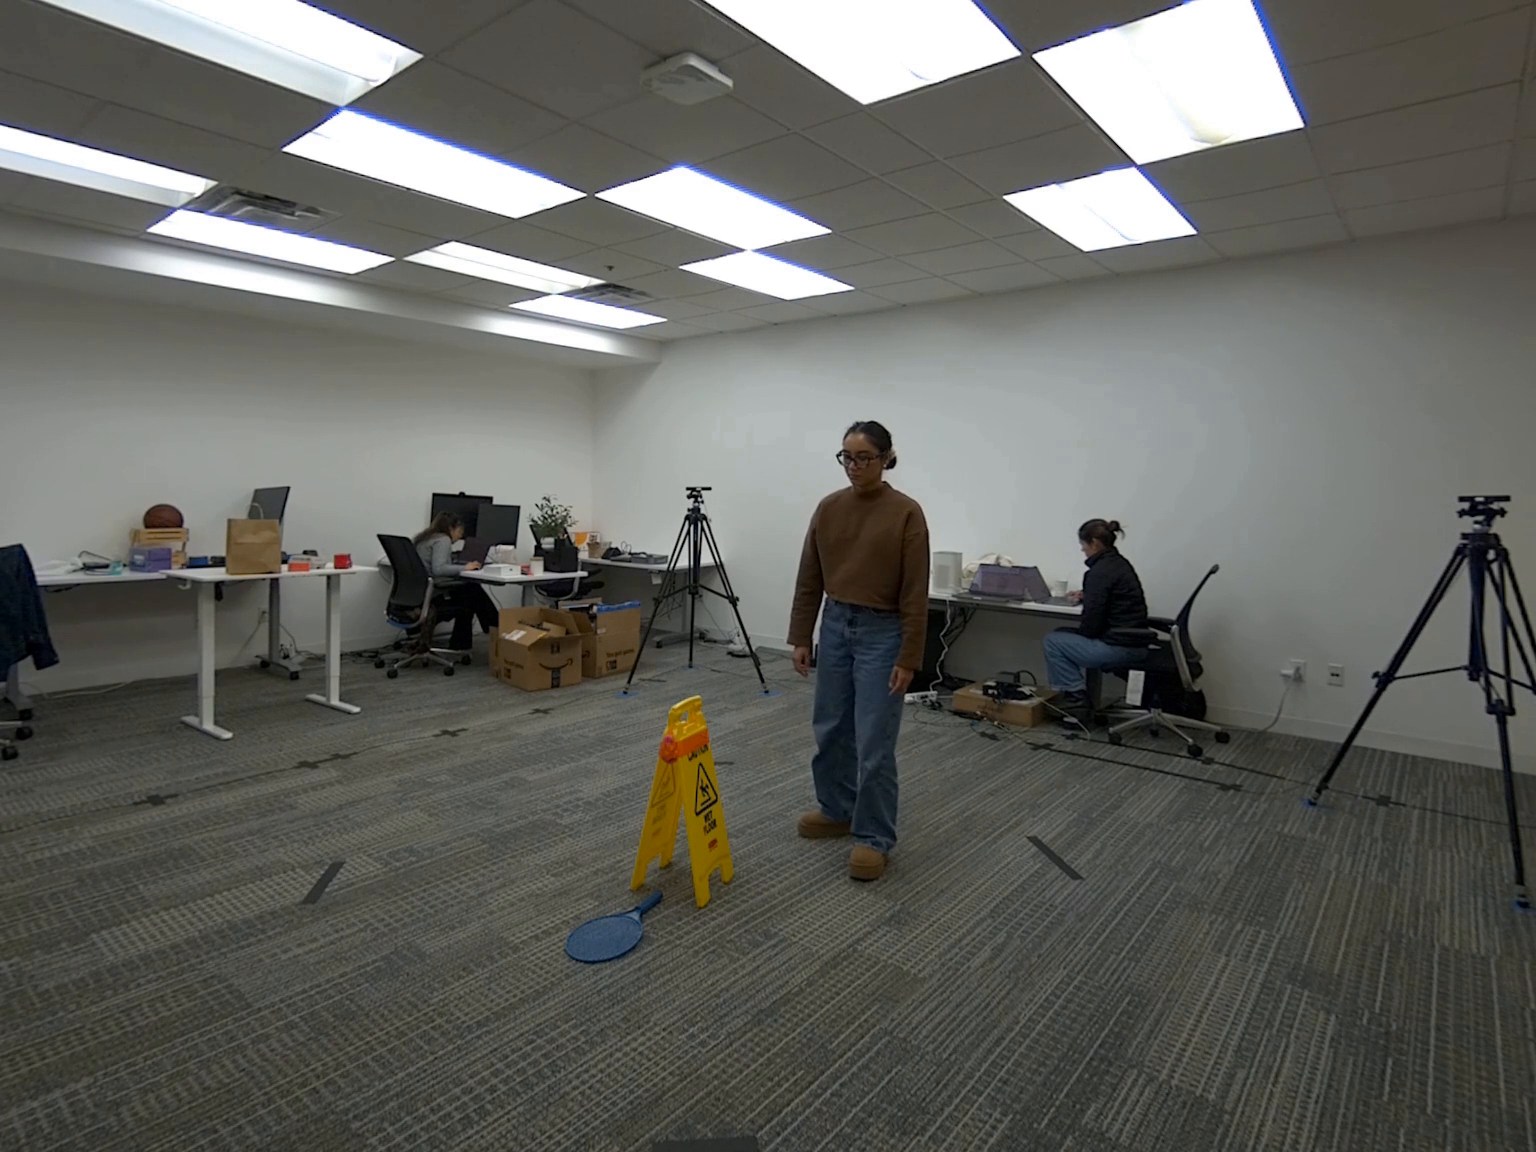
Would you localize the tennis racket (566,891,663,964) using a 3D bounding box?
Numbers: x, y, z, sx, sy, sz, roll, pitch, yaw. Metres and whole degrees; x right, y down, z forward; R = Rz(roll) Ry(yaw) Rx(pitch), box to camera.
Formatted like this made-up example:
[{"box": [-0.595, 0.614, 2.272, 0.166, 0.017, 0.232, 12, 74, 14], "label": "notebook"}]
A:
[{"box": [-0.466, 1.088, 2.677, 0.220, 0.031, 0.423, 3, 8, 28], "label": "tennis racket"}]
